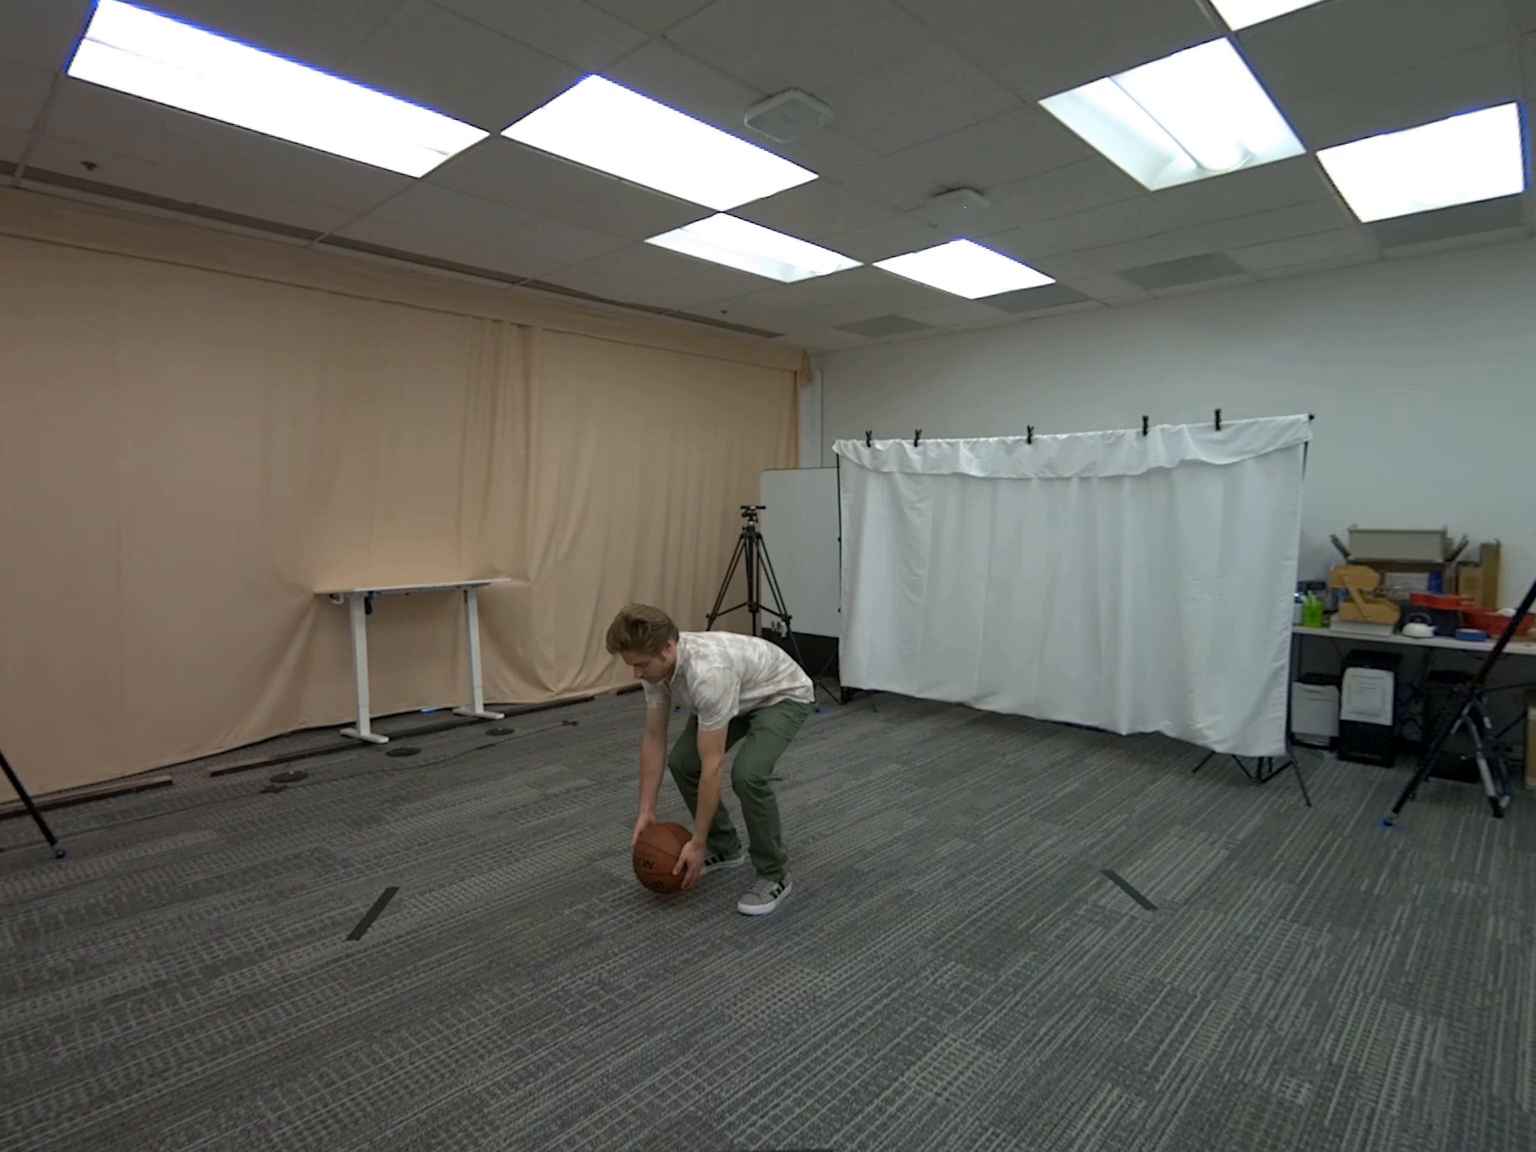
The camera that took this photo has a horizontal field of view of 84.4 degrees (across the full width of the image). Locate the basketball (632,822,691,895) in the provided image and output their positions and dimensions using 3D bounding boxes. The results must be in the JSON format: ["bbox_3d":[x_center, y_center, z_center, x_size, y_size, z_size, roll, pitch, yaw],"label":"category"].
[{"bbox_3d":[-0.362,0.984,2.961,0.236,0.235,0.237,0,4,-2],"label":"basketball"}]
